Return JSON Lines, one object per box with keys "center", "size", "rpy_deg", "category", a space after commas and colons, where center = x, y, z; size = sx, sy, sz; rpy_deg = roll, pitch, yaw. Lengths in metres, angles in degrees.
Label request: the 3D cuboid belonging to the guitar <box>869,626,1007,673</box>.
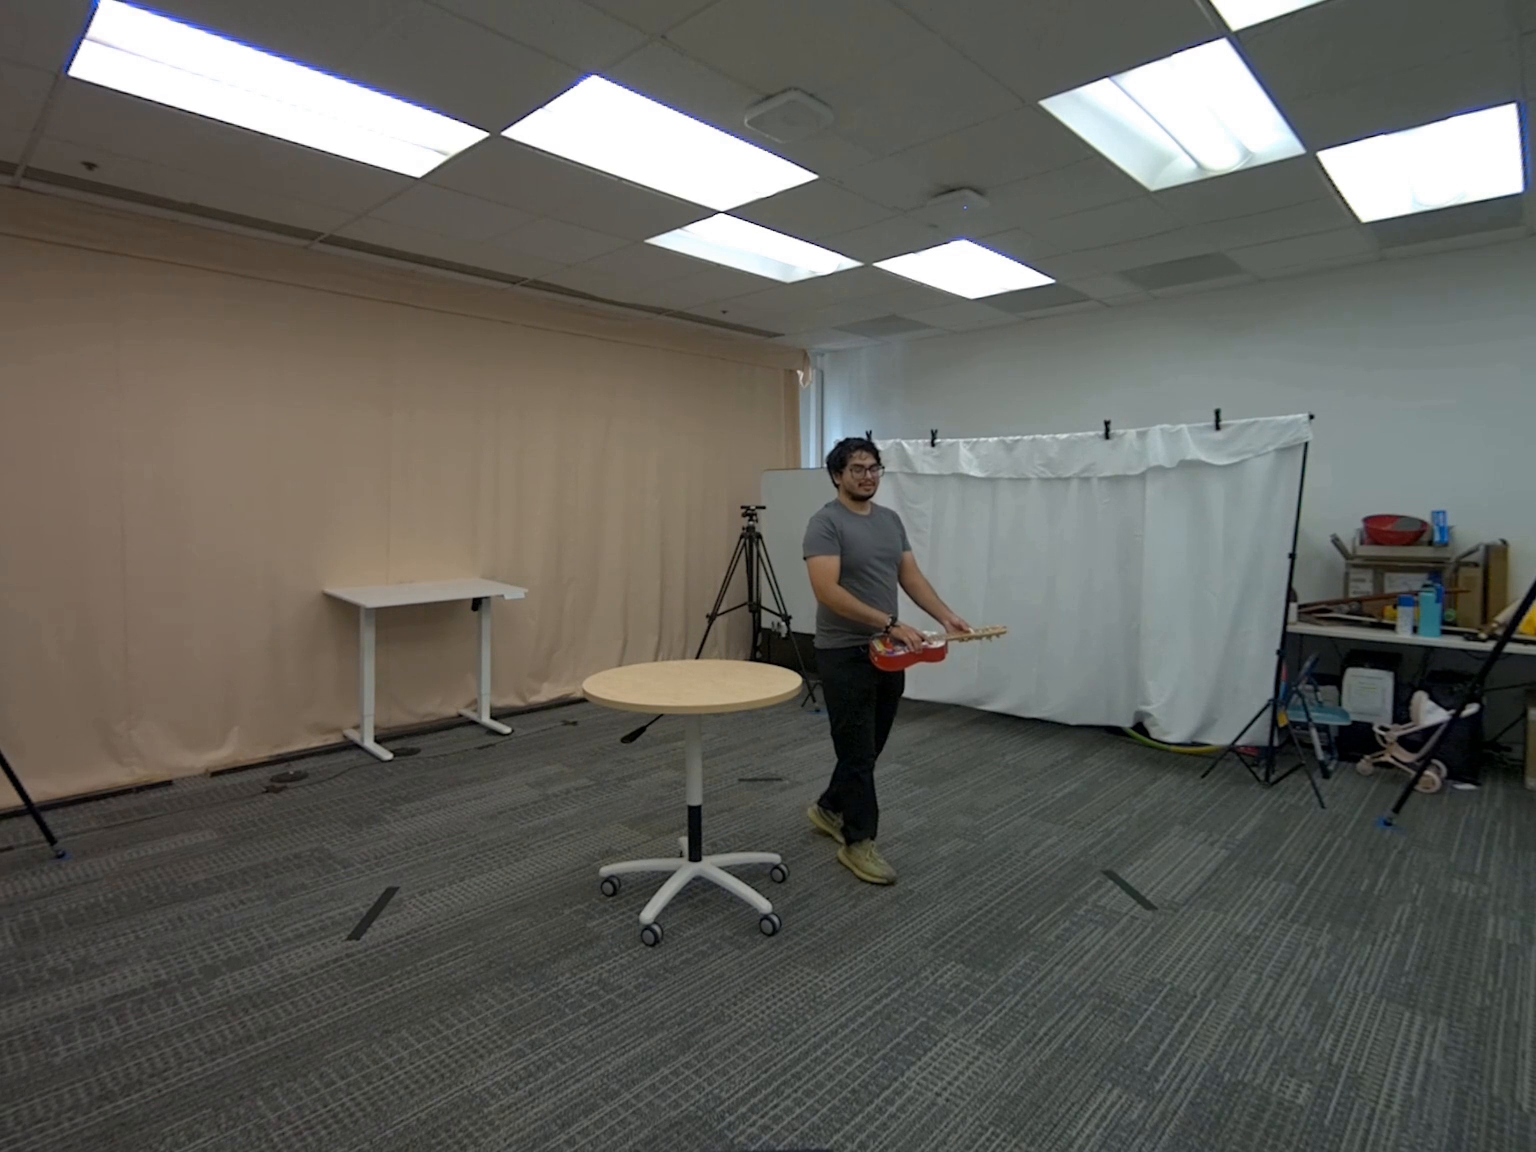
{"center": [0.628, 0.253, 3.015], "size": [0.500, 0.069, 0.195], "rpy_deg": [-2, 27, 4], "category": "guitar"}
